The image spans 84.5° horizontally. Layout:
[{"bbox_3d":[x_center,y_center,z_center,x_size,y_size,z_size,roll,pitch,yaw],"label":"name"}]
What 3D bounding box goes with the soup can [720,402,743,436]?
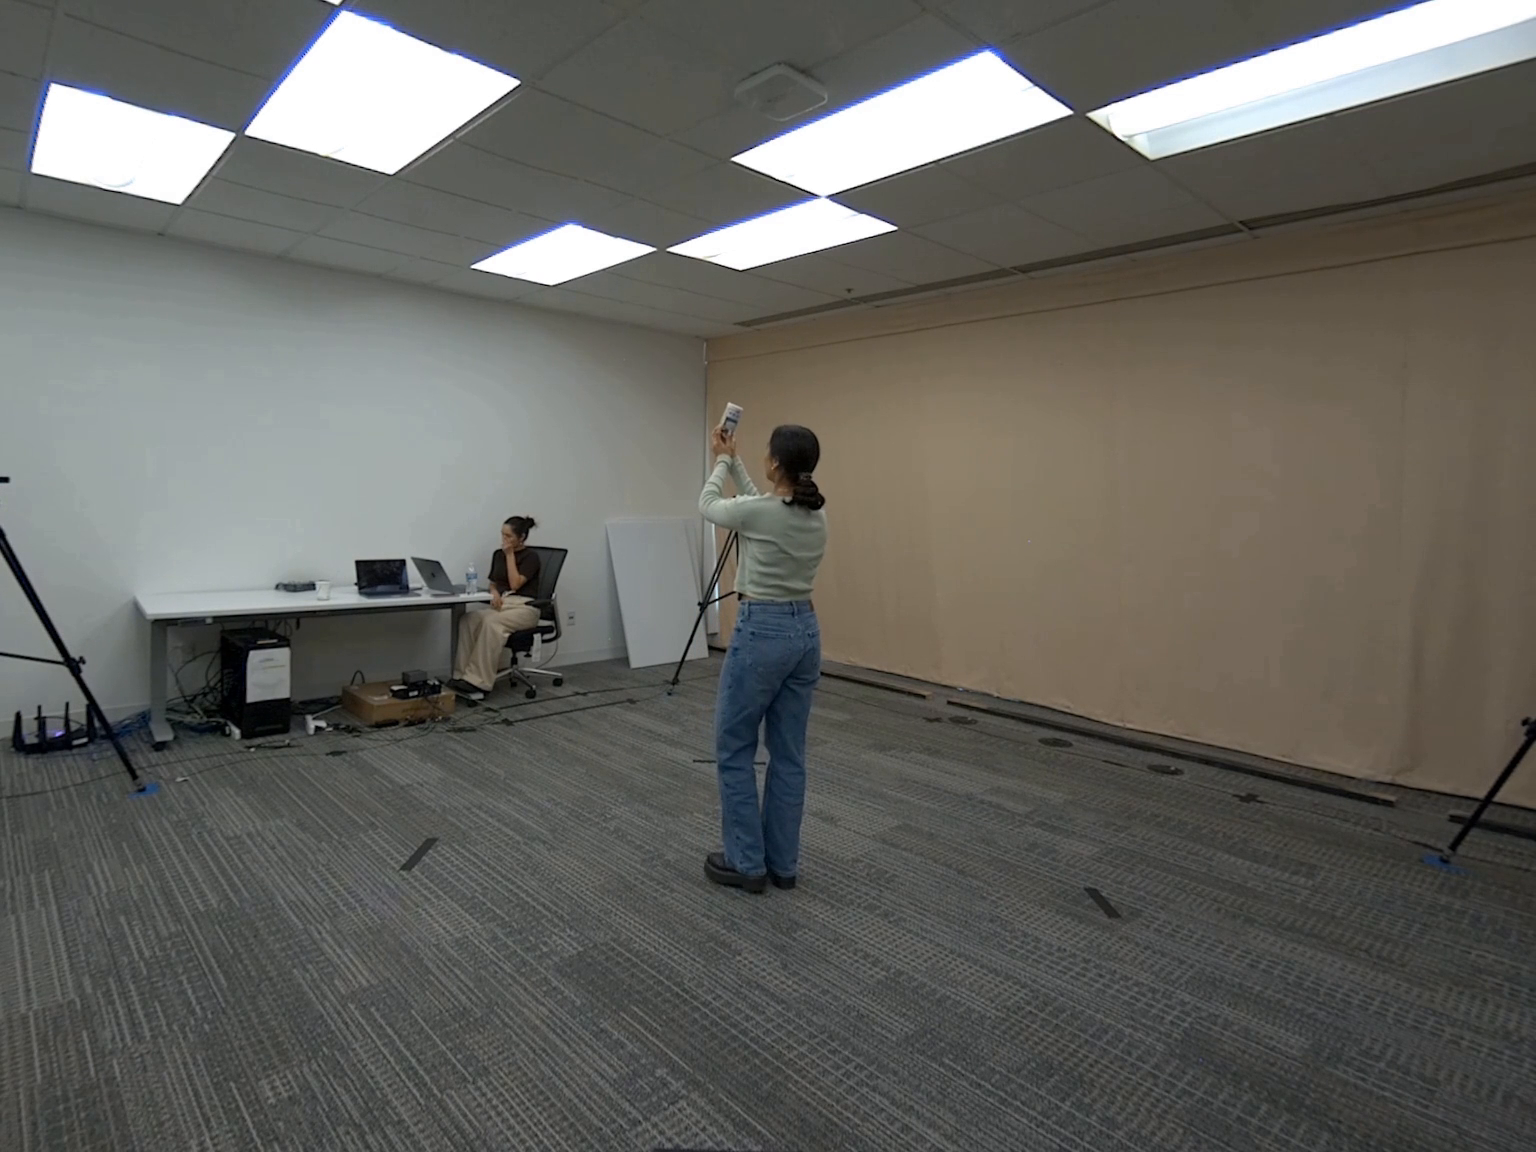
[{"bbox_3d":[-0.151,-0.620,3.315,0.067,0.121,0.068,19,9,-5],"label":"soup can"}]
